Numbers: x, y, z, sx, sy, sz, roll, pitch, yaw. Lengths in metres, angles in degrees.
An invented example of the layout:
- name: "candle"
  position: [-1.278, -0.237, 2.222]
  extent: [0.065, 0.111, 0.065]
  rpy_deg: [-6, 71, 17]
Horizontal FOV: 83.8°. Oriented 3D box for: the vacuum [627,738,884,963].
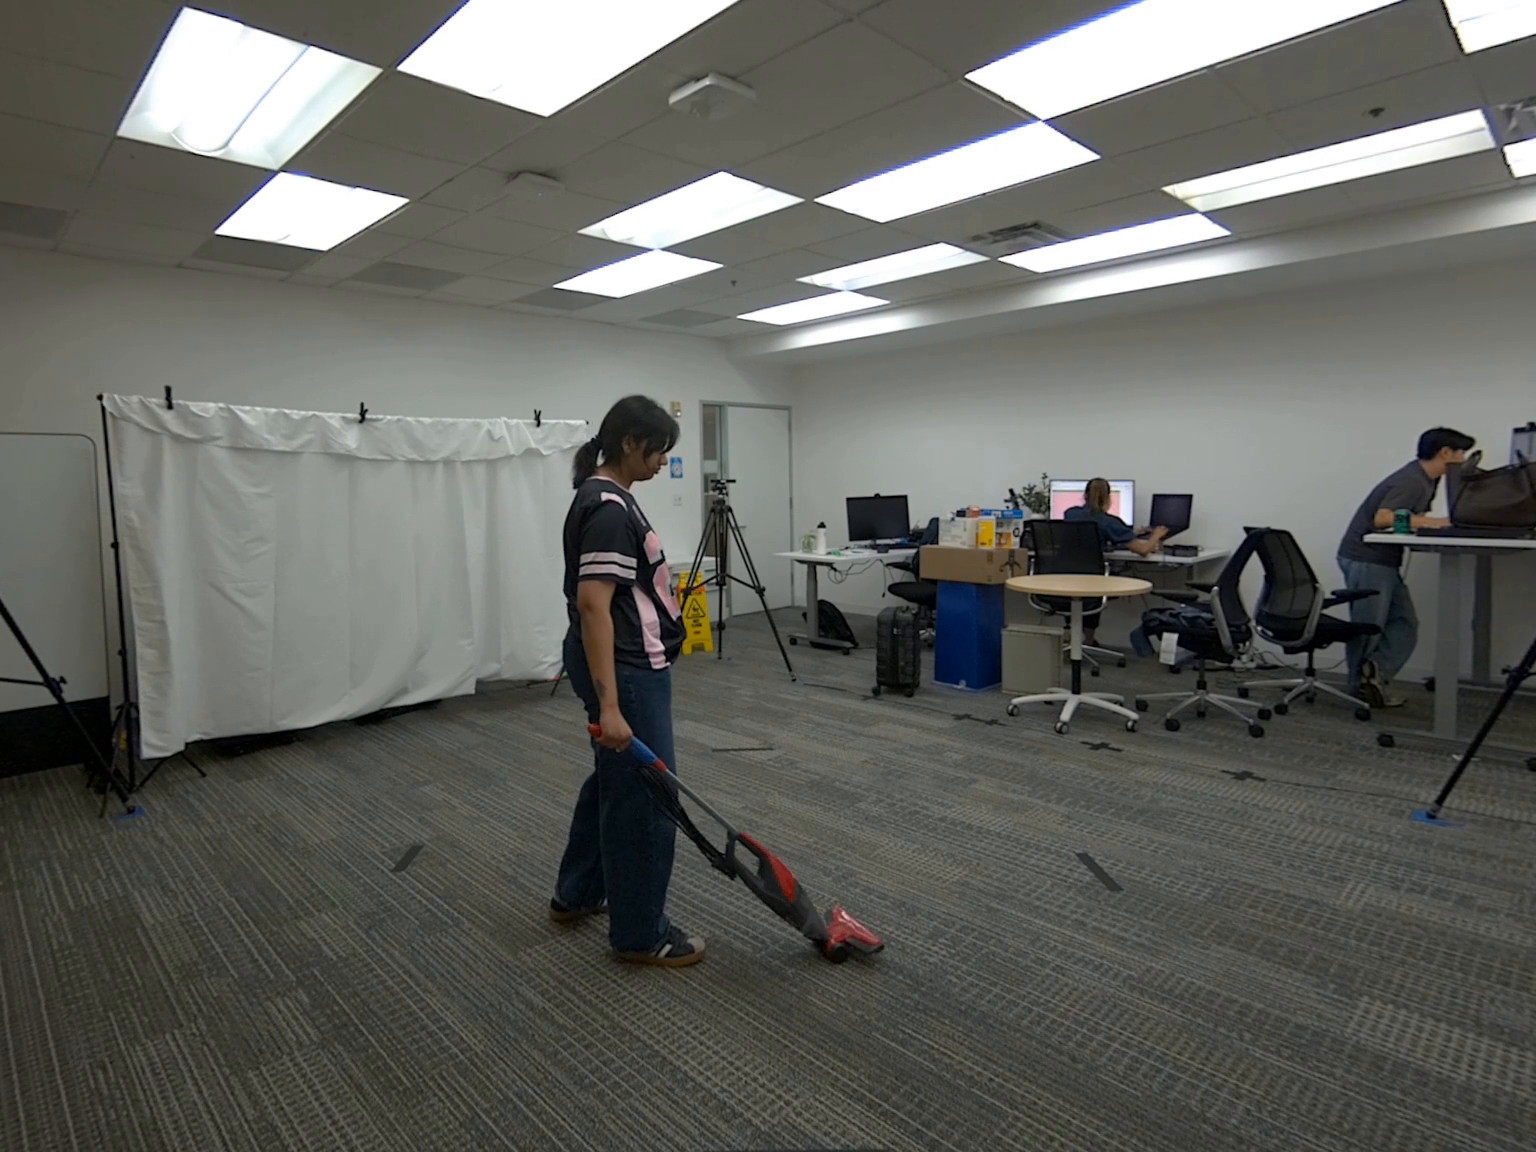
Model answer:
- name: "vacuum"
  position: [-0.112, 0.742, 2.370]
  extent: [1.025, 0.144, 0.258]
  rpy_deg: [45, -19, -19]
